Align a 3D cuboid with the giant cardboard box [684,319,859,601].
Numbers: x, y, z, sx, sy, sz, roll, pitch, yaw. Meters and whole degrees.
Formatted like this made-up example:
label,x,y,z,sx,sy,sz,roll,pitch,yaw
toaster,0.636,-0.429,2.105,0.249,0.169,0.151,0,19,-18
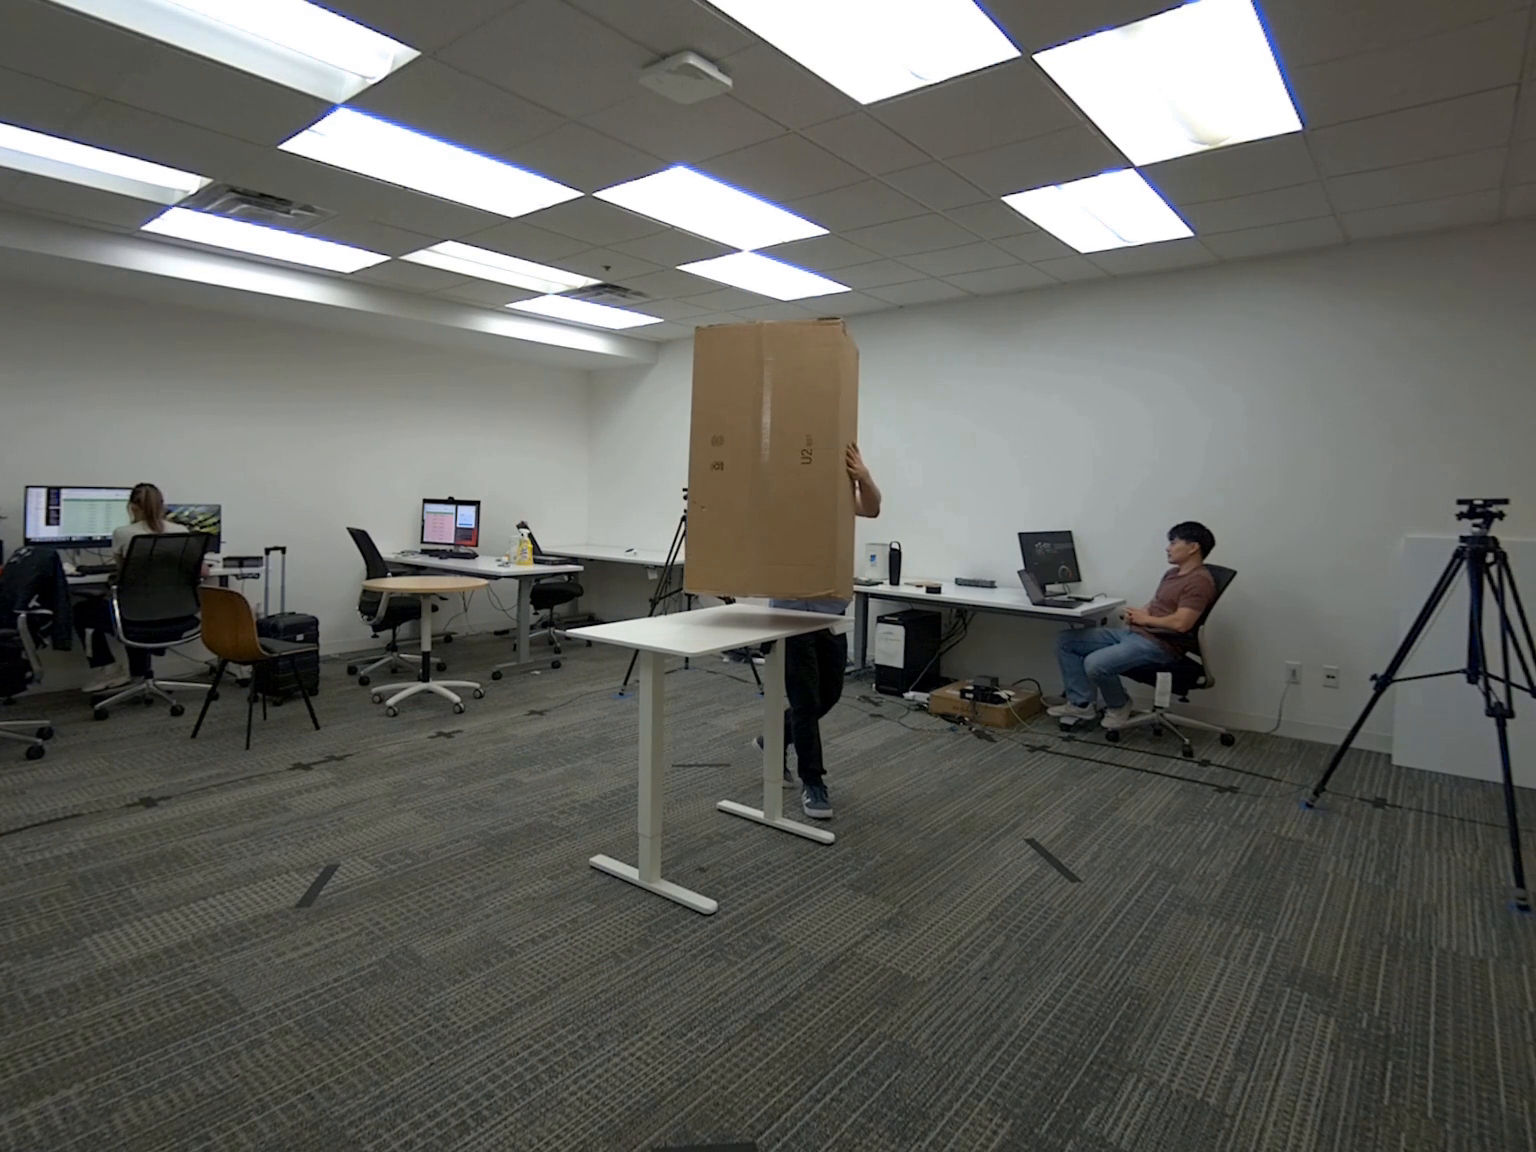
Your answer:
label,x,y,z,sx,sy,sz,roll,pitch,yaw
giant cardboard box,0.018,-0.428,3.318,0.588,1.031,0.416,1,-6,17
